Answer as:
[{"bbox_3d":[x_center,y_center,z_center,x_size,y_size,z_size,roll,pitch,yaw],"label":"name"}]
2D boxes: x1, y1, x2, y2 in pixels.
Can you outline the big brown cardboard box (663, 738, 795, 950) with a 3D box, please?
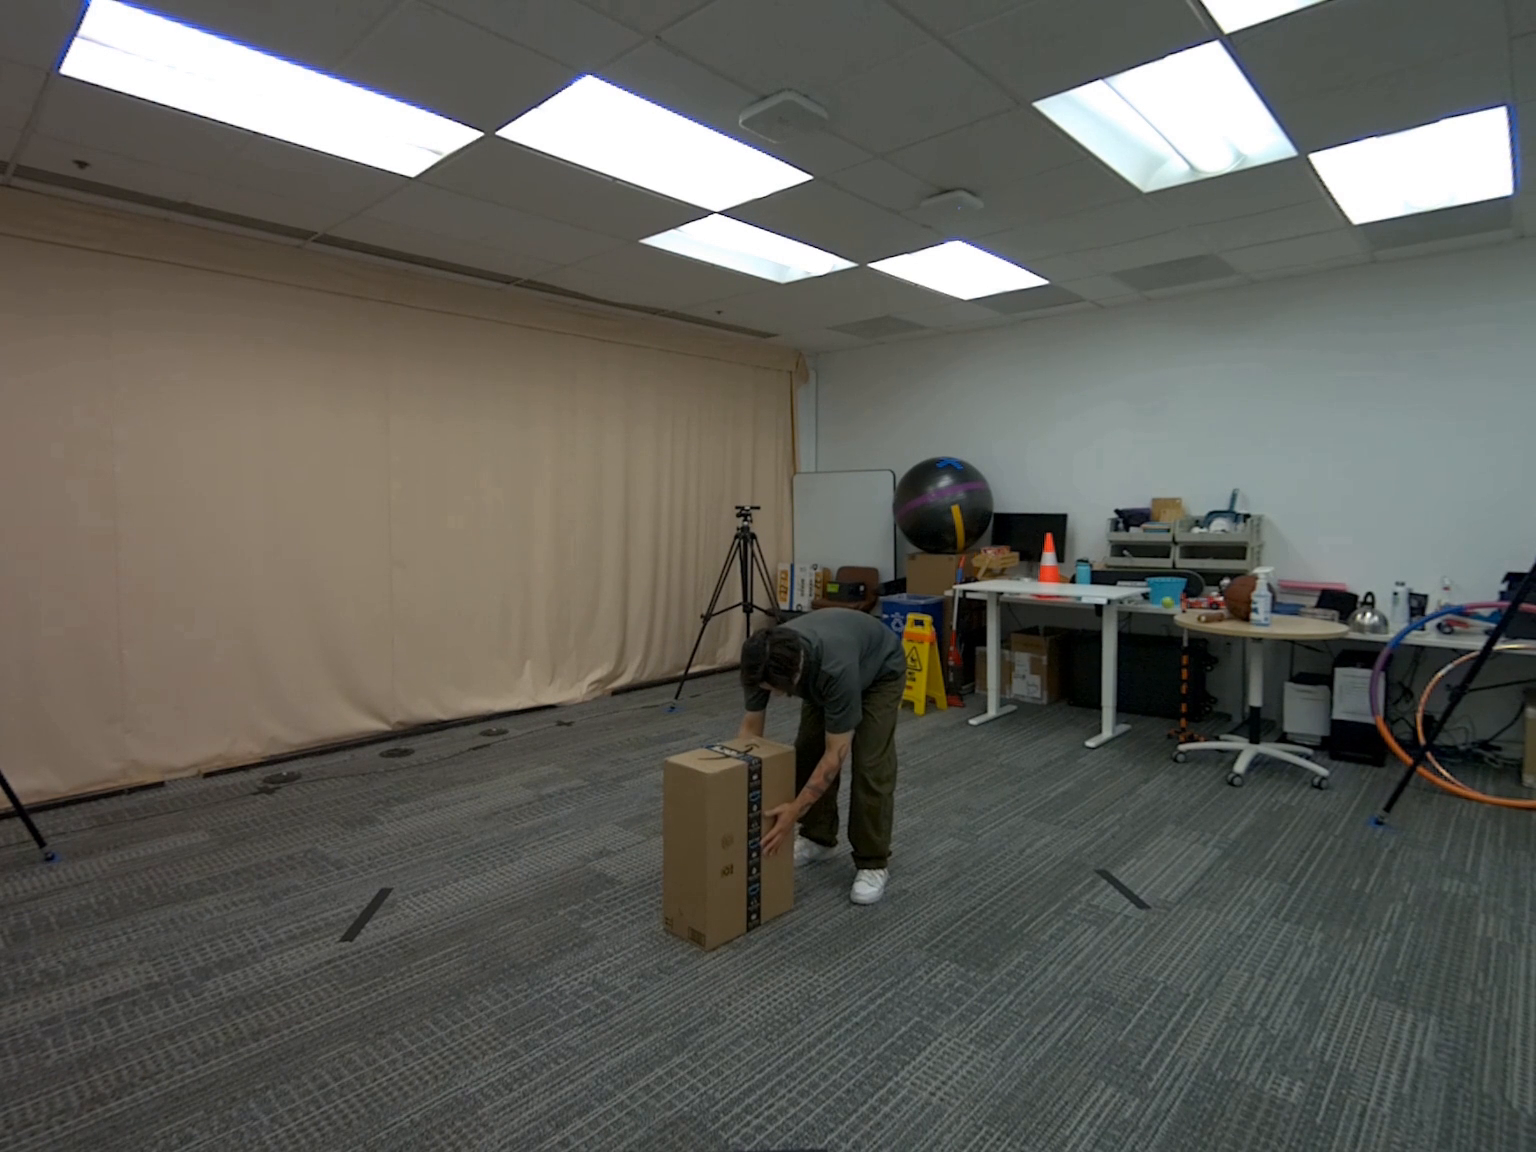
[{"bbox_3d":[-0.126,0.871,2.829,0.241,0.588,0.404,2,2,45],"label":"big brown cardboard box"}]
